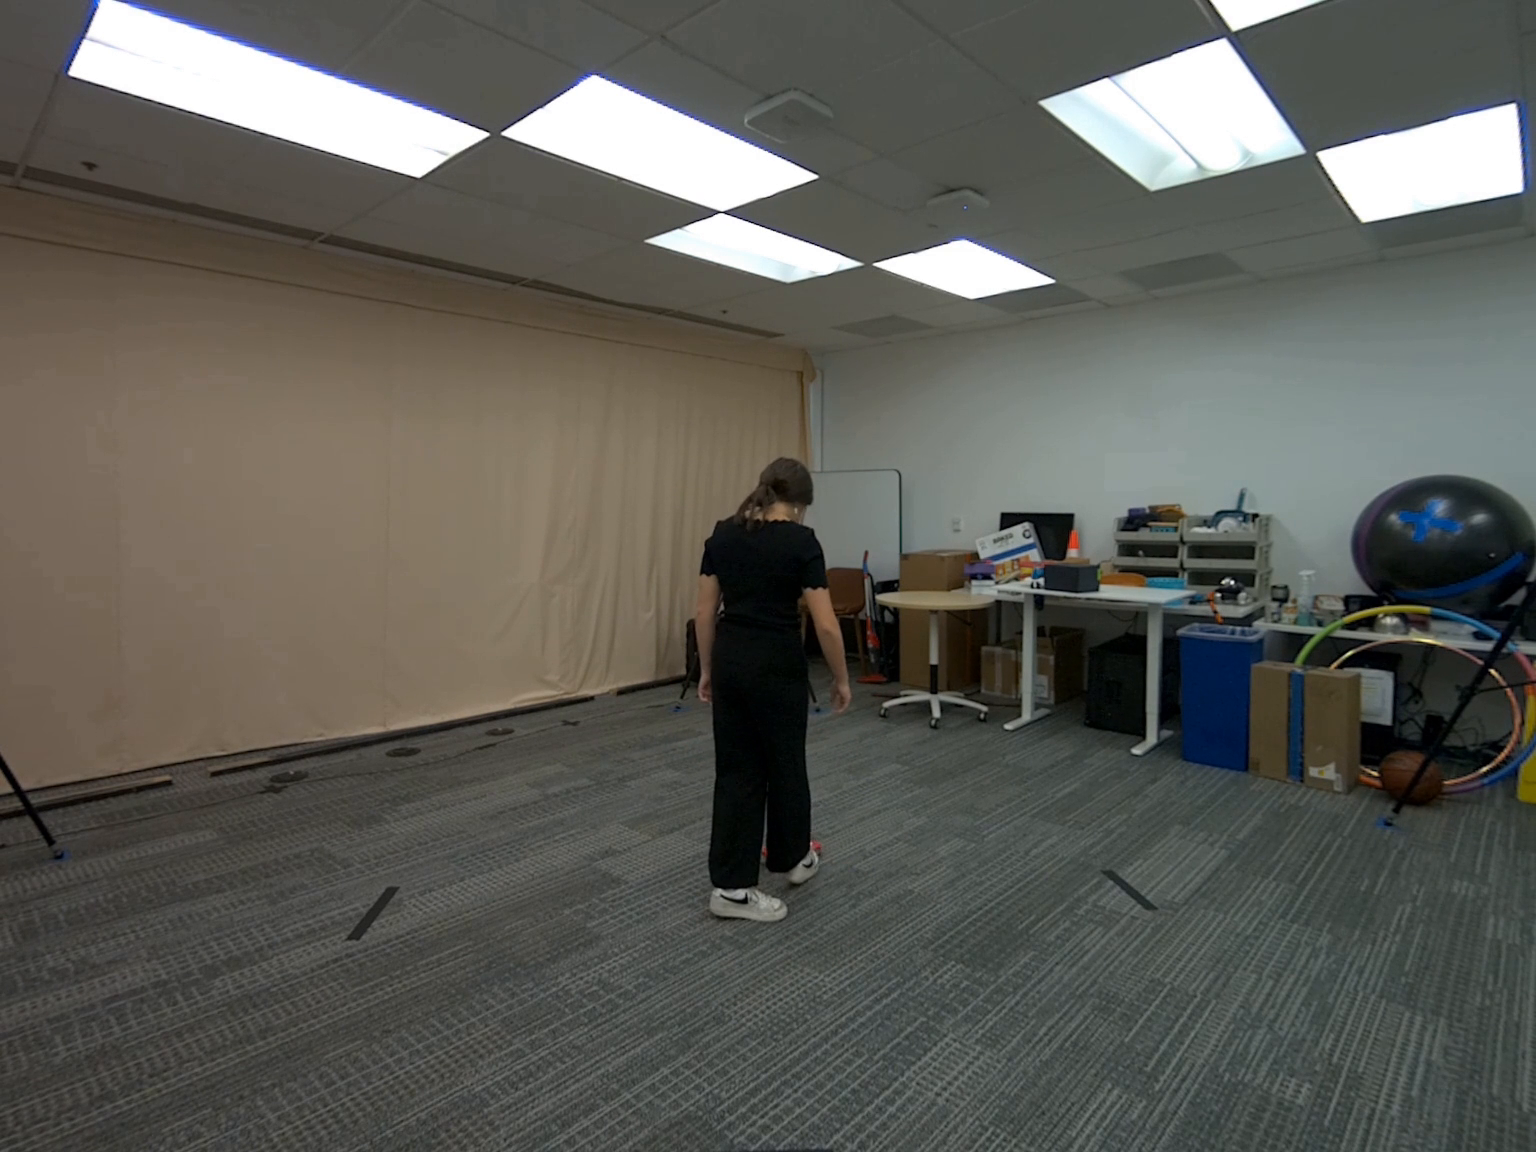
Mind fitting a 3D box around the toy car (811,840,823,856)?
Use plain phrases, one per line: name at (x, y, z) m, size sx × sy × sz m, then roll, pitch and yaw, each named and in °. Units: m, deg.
toy car at (0.095, 1.084, 3.291) m, size 0.246 × 0.083 × 0.134 m, roll 11°, pitch -2°, yaw -34°
